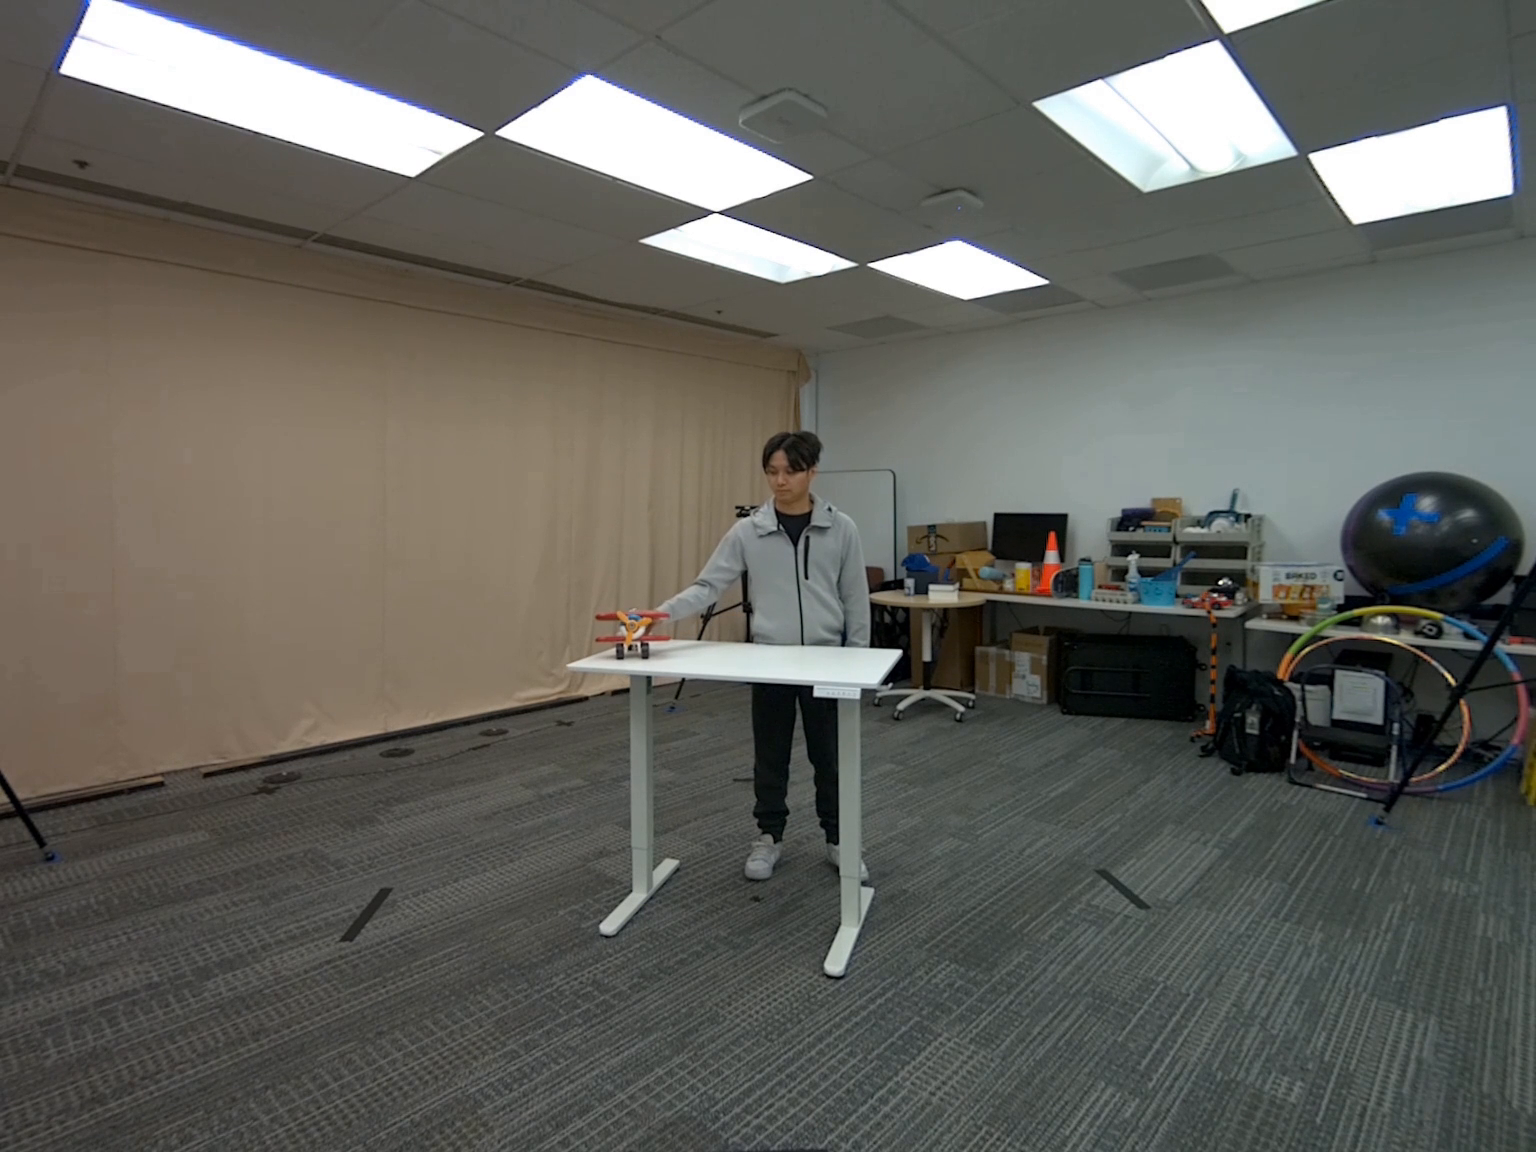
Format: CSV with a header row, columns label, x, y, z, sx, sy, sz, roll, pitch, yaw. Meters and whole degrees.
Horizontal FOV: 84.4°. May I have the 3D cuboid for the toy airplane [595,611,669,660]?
label,x,y,z,sx,sy,sz,roll,pitch,yaw
toy airplane,-0.485,0.198,2.911,0.244,0.156,0.267,-2,4,-33
